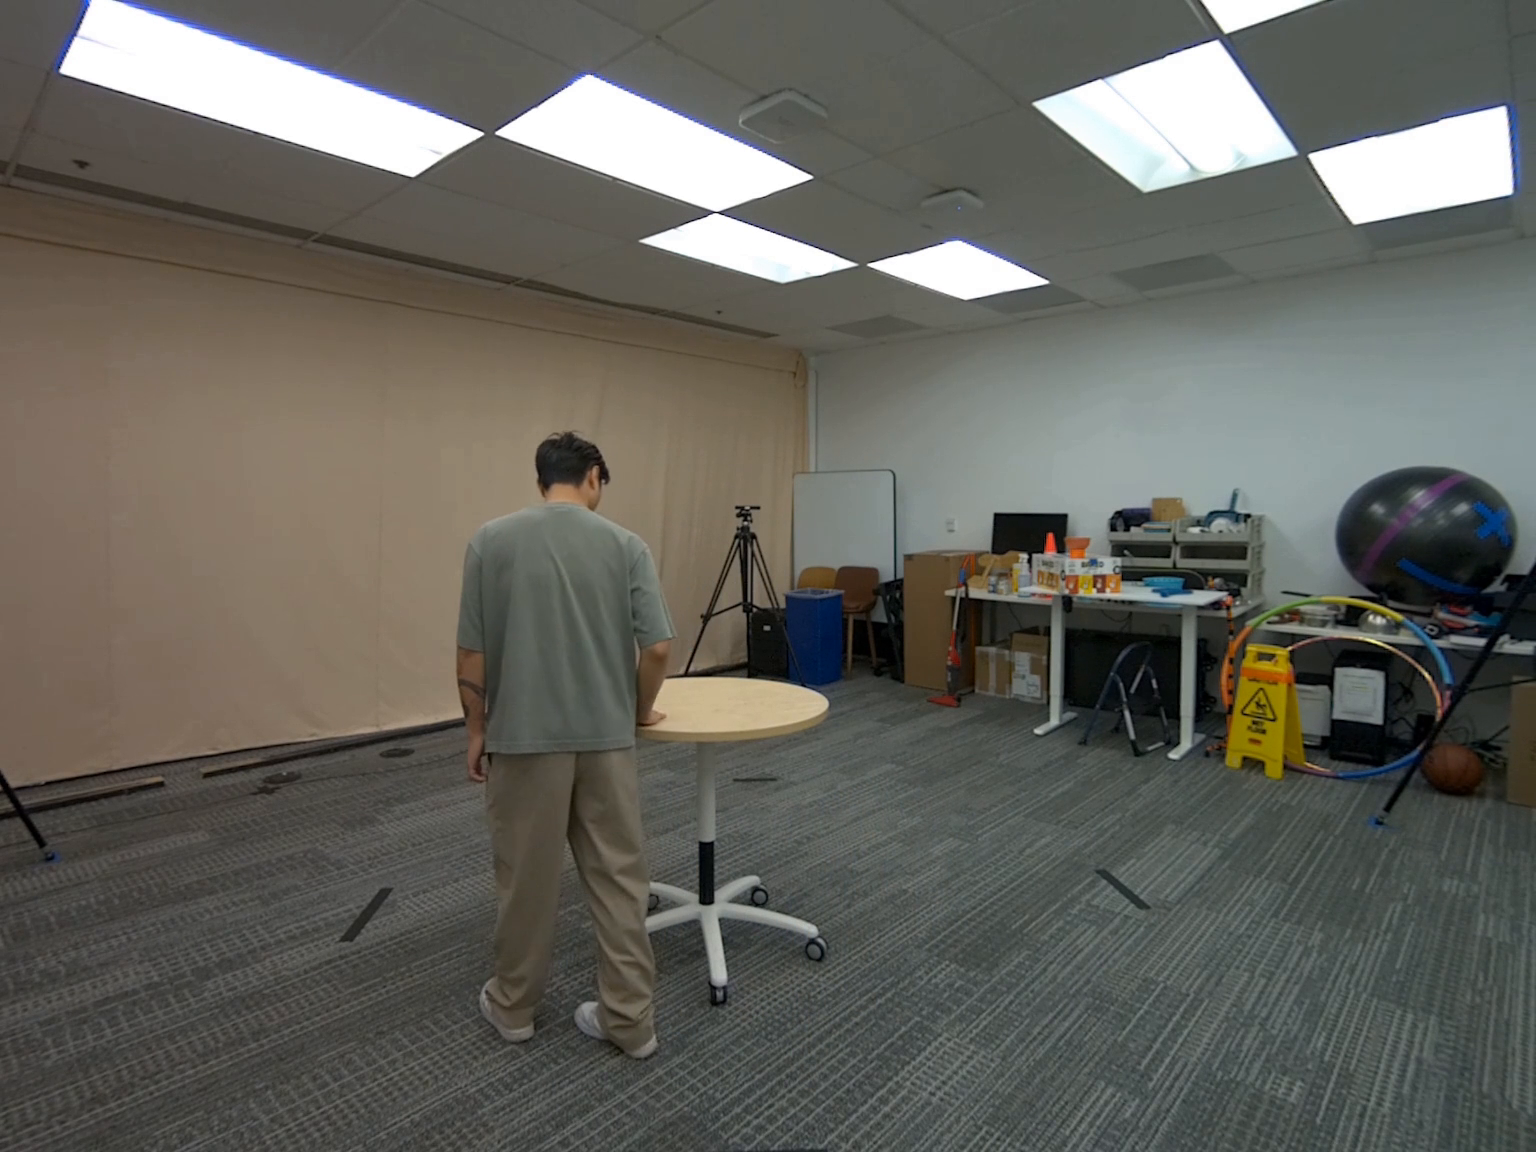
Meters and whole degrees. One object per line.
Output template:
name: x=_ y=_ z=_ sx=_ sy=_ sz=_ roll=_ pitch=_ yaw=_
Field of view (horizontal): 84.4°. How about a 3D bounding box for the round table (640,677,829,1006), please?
round table: x=-0.188 y=0.786 z=2.649 sx=0.763 sy=0.792 sz=0.766 roll=0 pitch=3 yaw=-2
